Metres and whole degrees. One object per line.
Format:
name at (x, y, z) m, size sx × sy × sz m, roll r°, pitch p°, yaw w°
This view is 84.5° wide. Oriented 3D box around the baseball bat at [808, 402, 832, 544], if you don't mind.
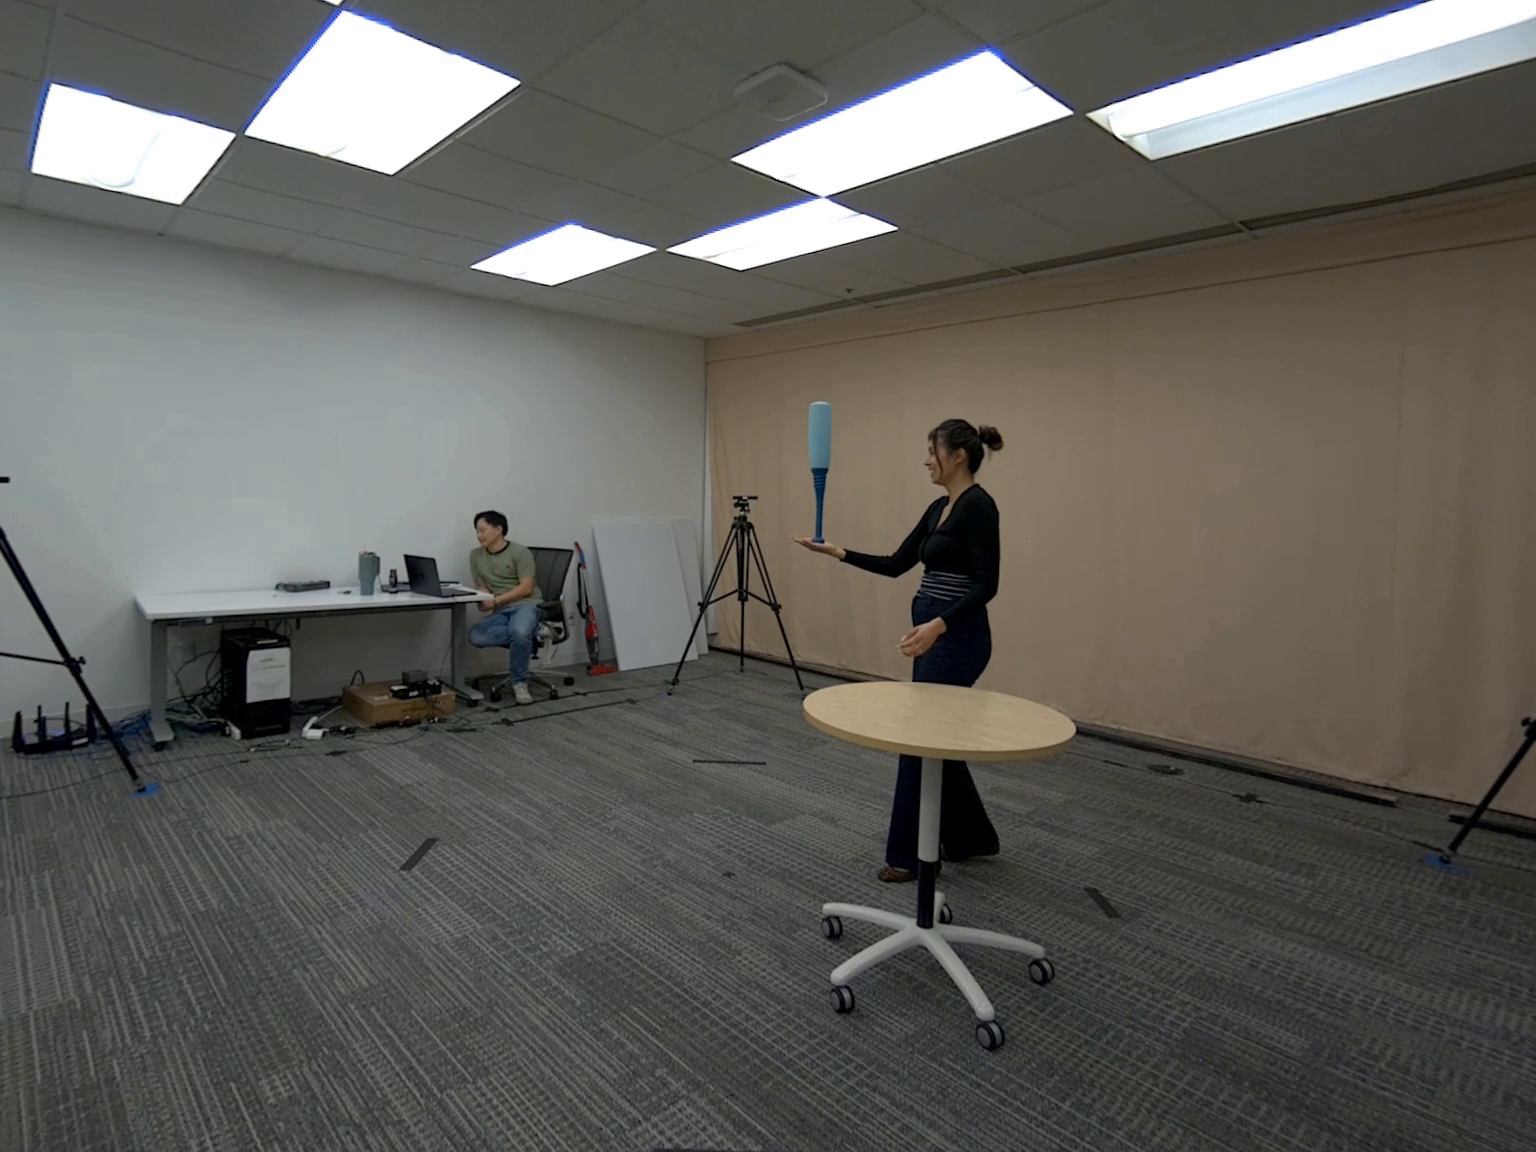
baseball bat at (0.206, -0.389, 3.223) m, size 0.089 × 0.542 × 0.089 m, roll 0°, pitch 2°, yaw -1°
